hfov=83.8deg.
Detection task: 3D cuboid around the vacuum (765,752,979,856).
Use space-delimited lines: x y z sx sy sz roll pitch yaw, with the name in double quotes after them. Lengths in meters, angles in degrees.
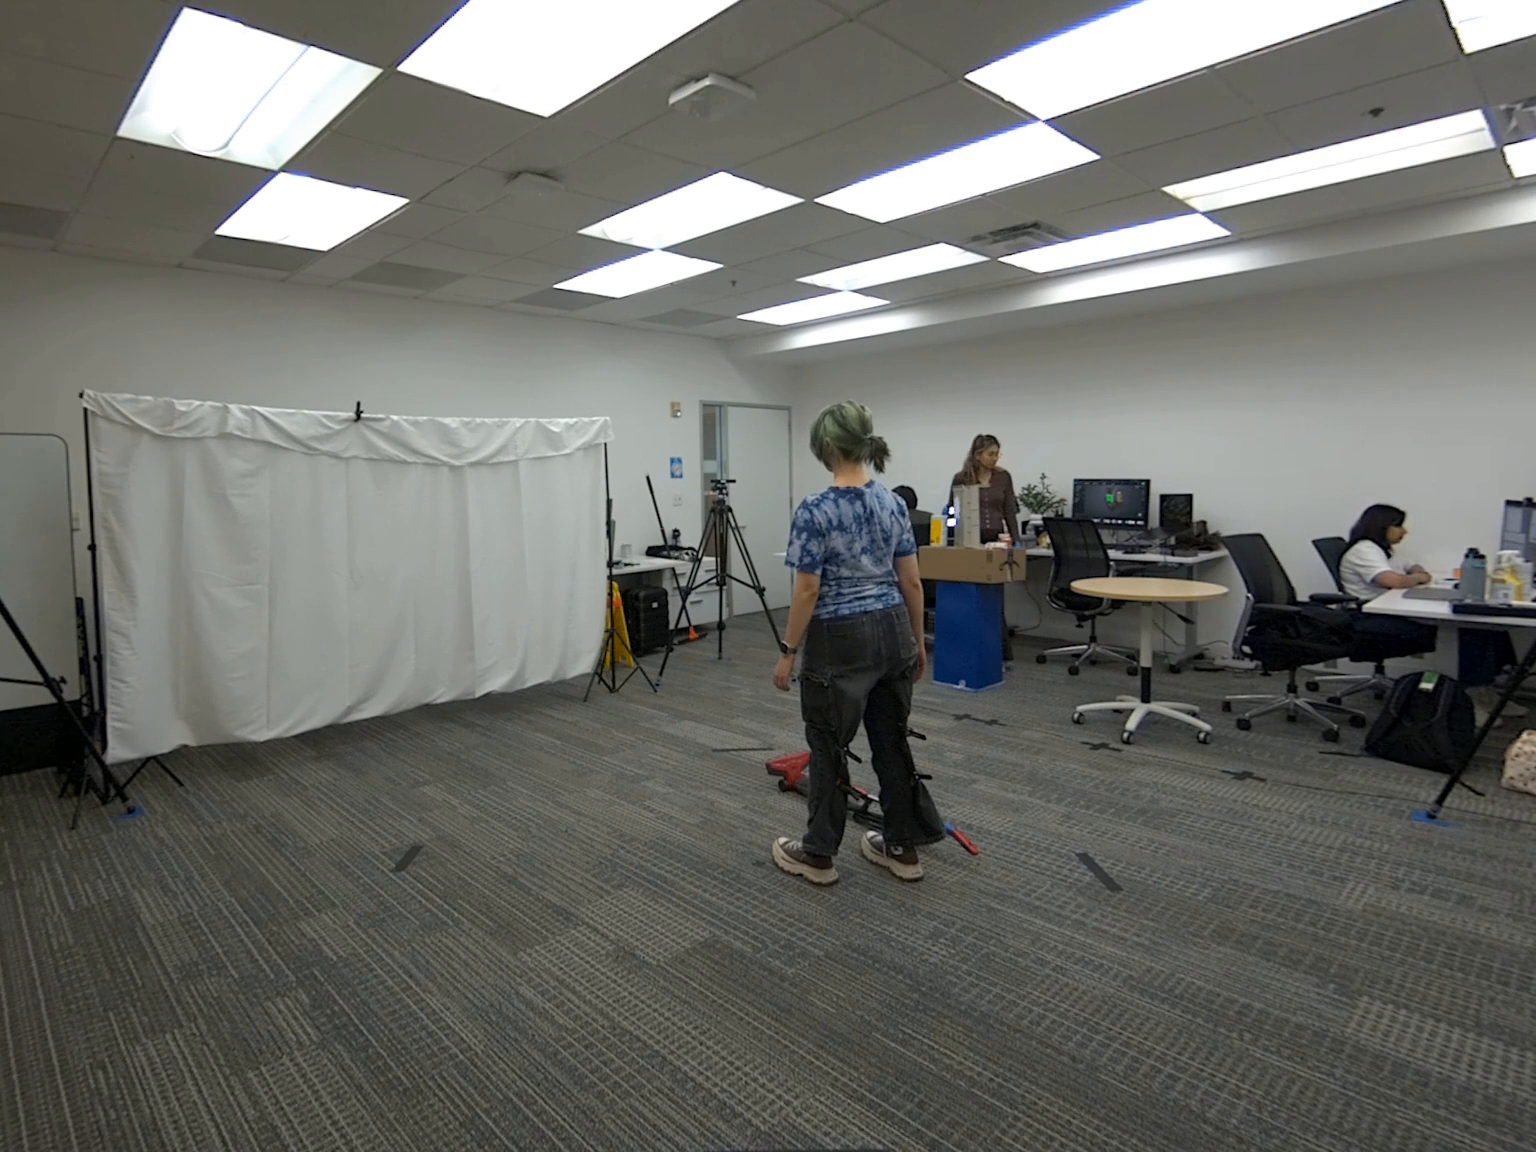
0.414 0.940 3.456 0.246 0.143 1.082 -8 11 -36 "vacuum"
